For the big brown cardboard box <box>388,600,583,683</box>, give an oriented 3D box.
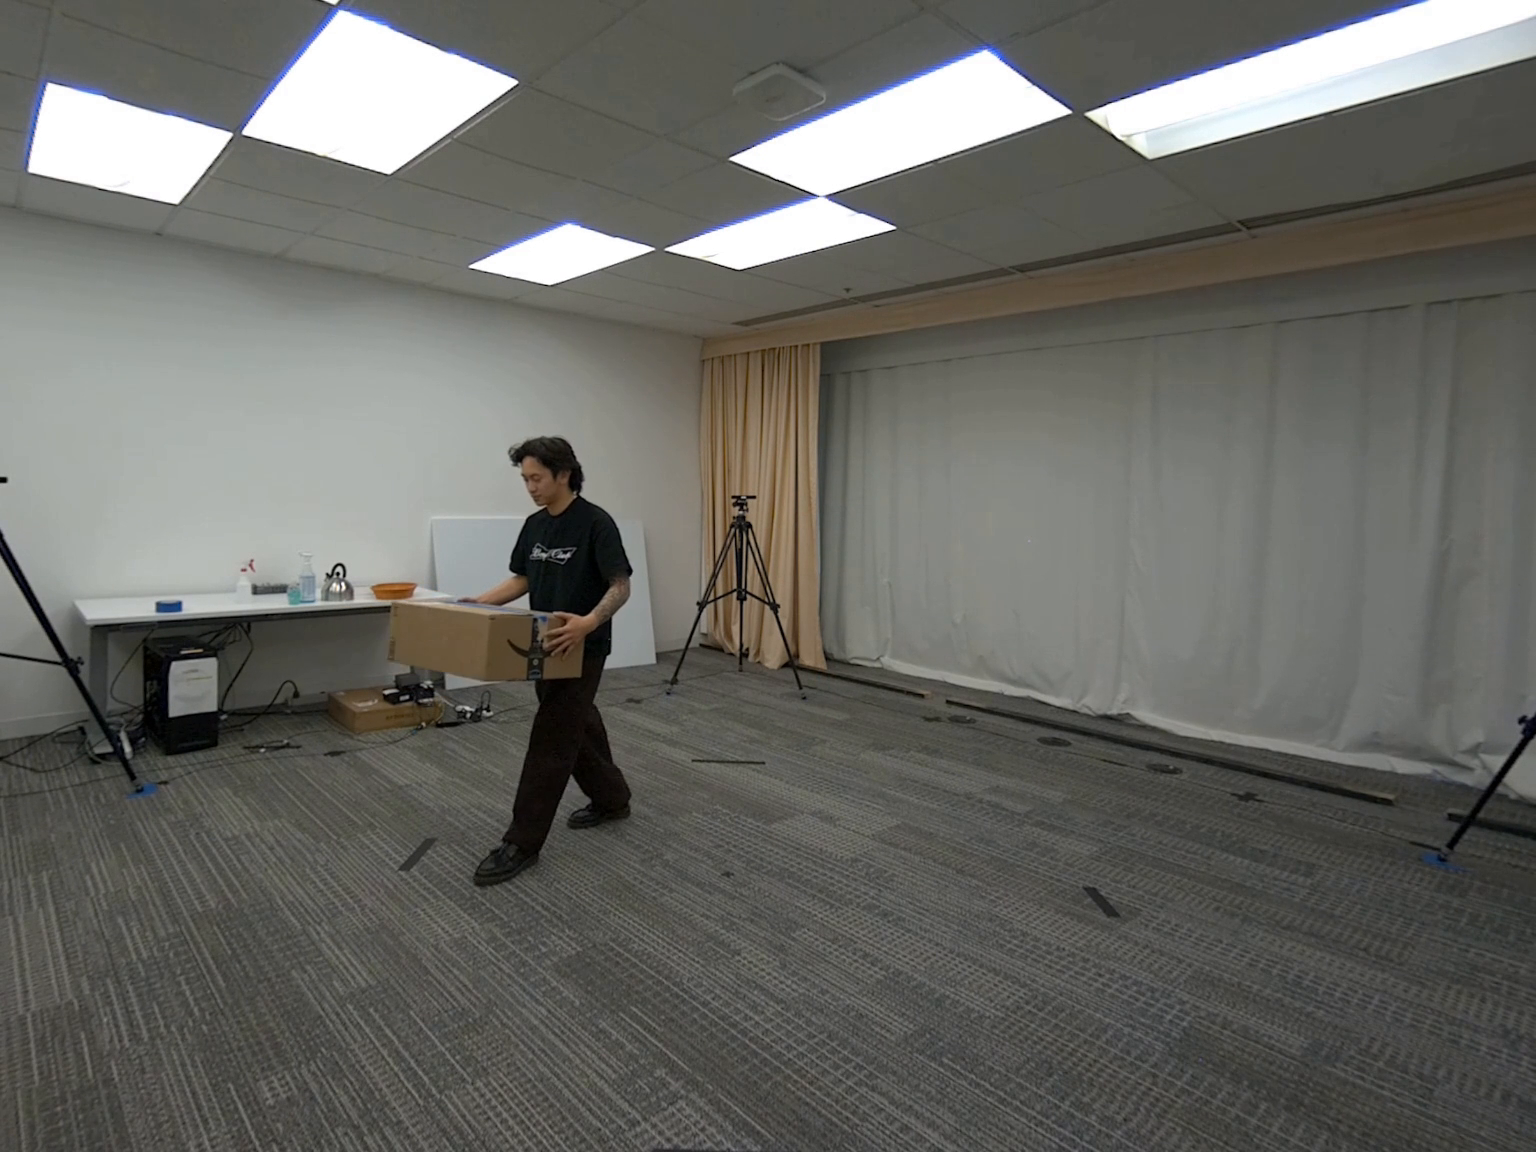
[{"bbox_3d":[-1.014,0.219,2.998,0.603,0.233,0.407,5,0,35],"label":"big brown cardboard box"}]
